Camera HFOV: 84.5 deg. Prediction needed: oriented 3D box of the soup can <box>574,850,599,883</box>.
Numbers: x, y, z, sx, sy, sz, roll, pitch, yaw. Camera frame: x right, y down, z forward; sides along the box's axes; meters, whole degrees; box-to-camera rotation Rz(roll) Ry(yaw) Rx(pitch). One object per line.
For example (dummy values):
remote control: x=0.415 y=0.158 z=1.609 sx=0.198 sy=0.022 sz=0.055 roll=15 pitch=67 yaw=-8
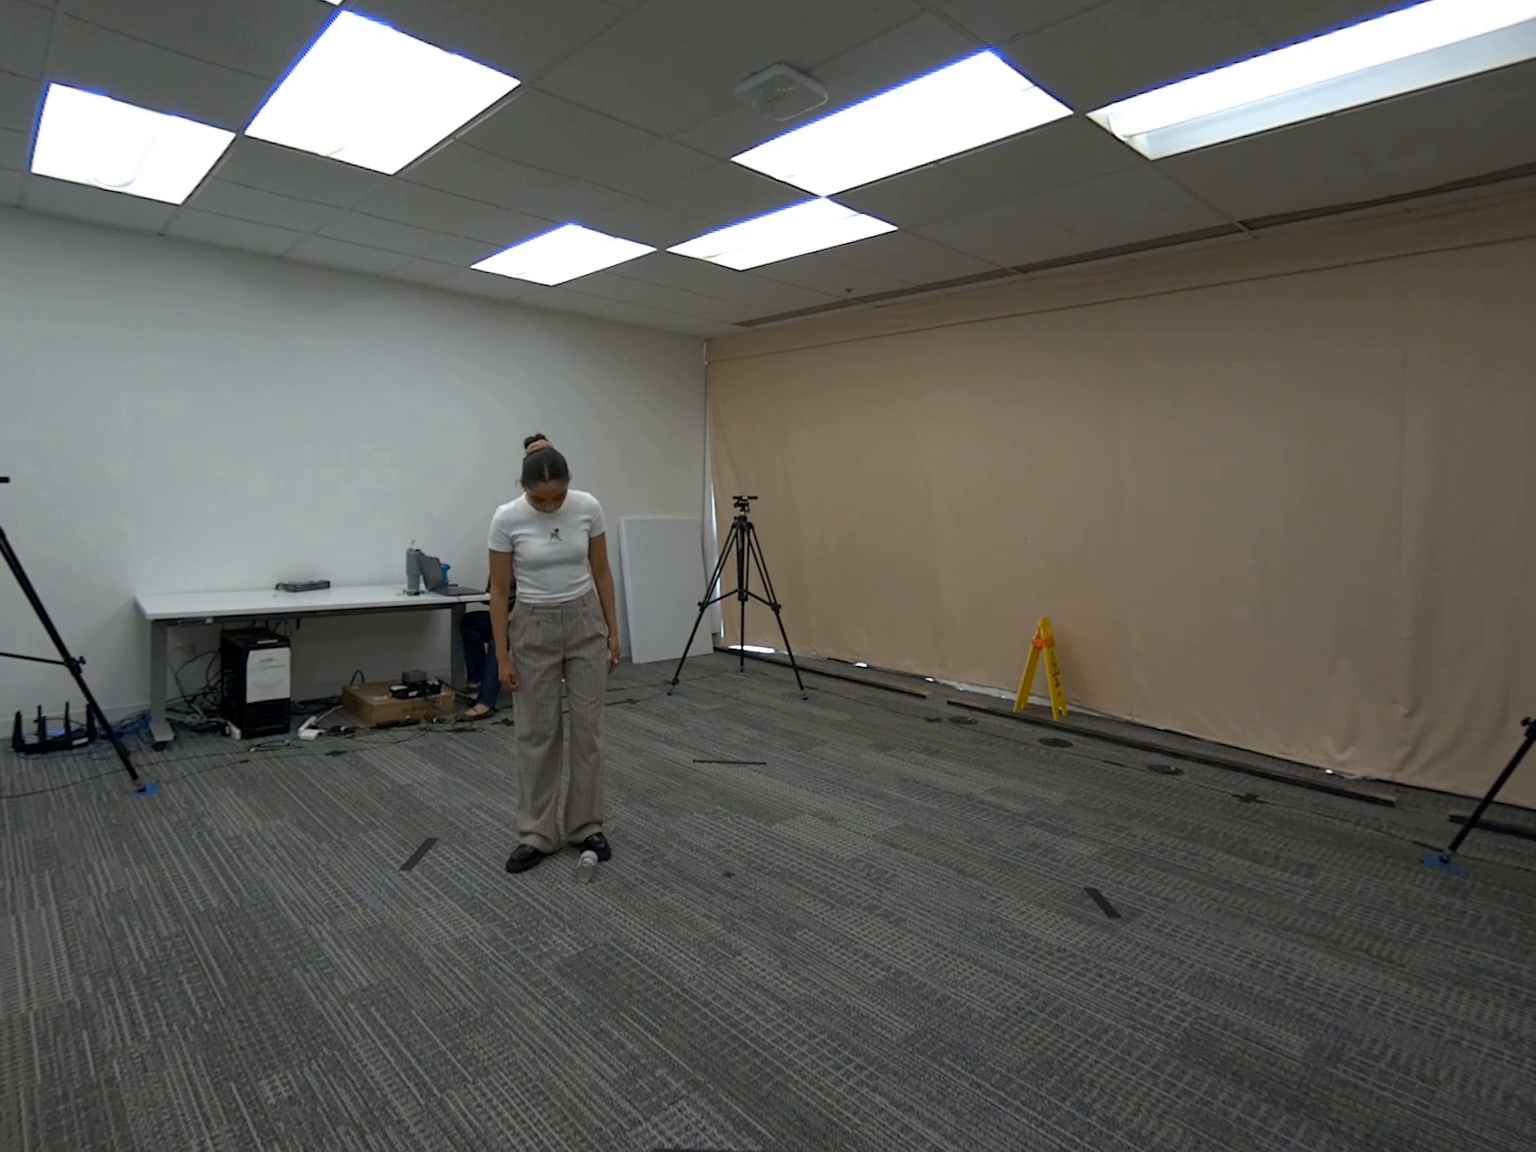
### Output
soup can: x=-0.670 y=1.057 z=3.068 sx=0.067 sy=0.067 sz=0.123 roll=1 pitch=10 yaw=-5
